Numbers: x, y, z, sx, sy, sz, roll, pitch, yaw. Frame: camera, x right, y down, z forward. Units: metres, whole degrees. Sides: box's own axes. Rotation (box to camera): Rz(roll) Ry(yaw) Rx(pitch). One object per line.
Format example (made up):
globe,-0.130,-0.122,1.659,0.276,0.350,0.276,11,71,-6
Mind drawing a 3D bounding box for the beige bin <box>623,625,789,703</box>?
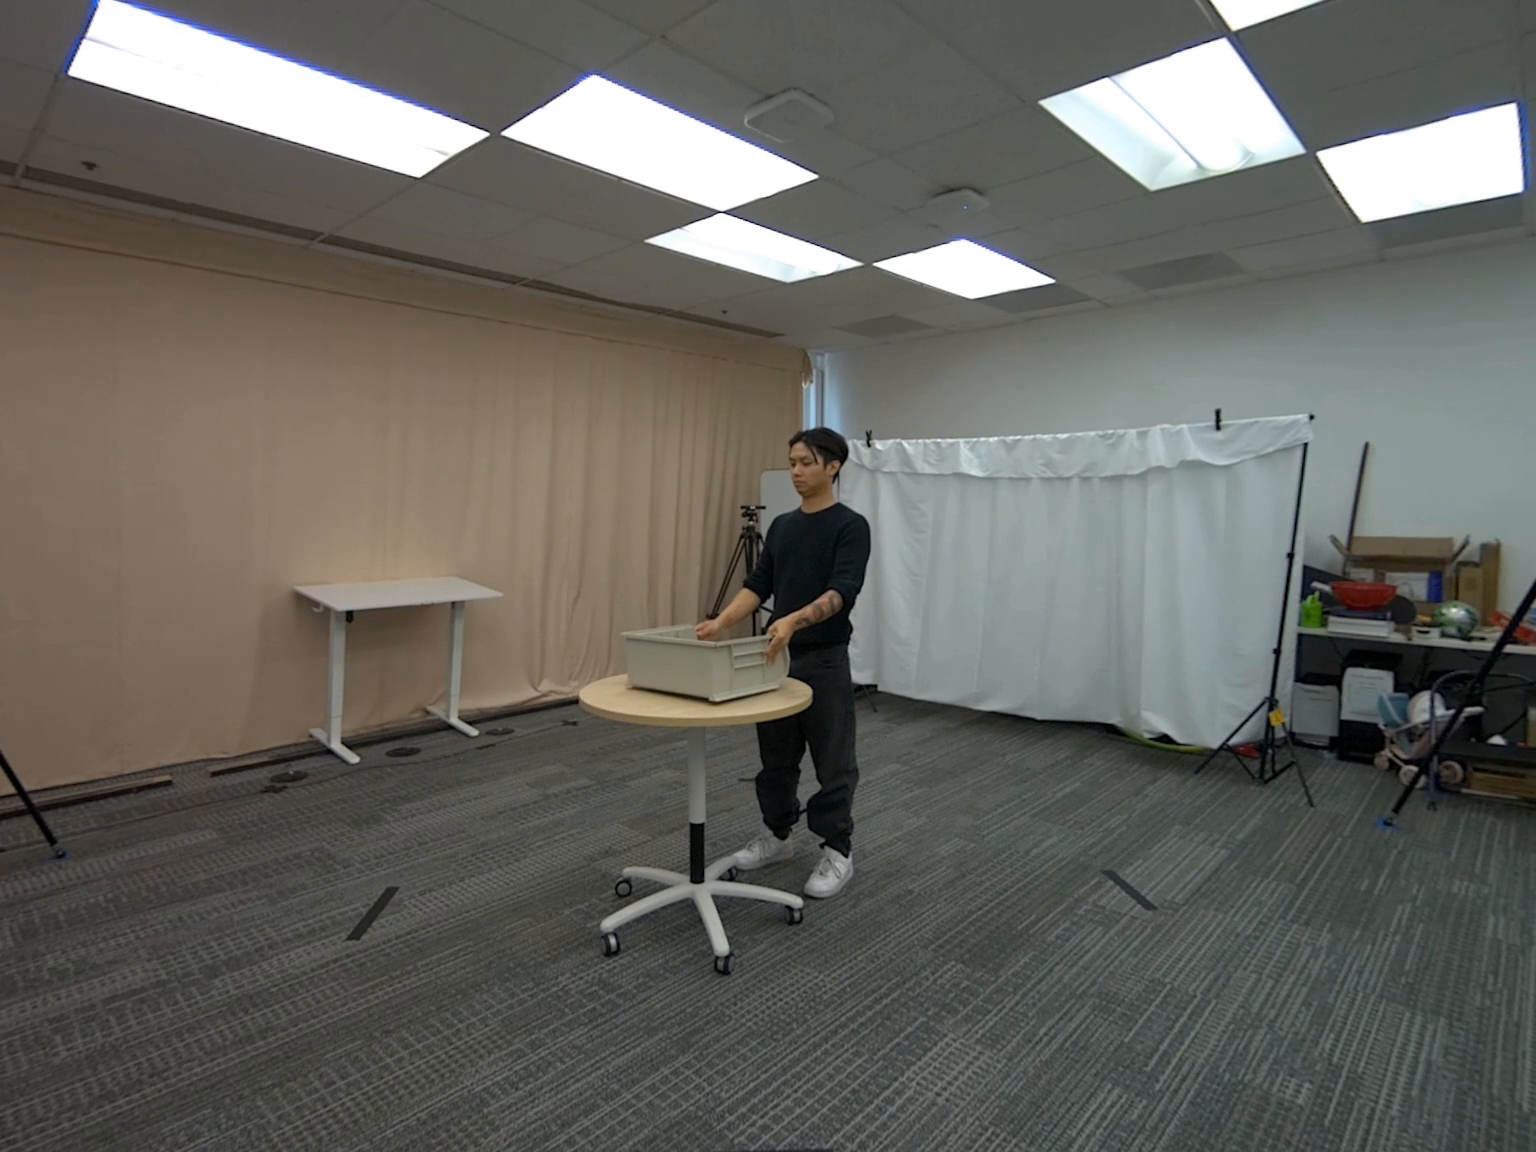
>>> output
beige bin,-0.207,0.275,2.797,0.436,0.188,0.366,2,6,41
